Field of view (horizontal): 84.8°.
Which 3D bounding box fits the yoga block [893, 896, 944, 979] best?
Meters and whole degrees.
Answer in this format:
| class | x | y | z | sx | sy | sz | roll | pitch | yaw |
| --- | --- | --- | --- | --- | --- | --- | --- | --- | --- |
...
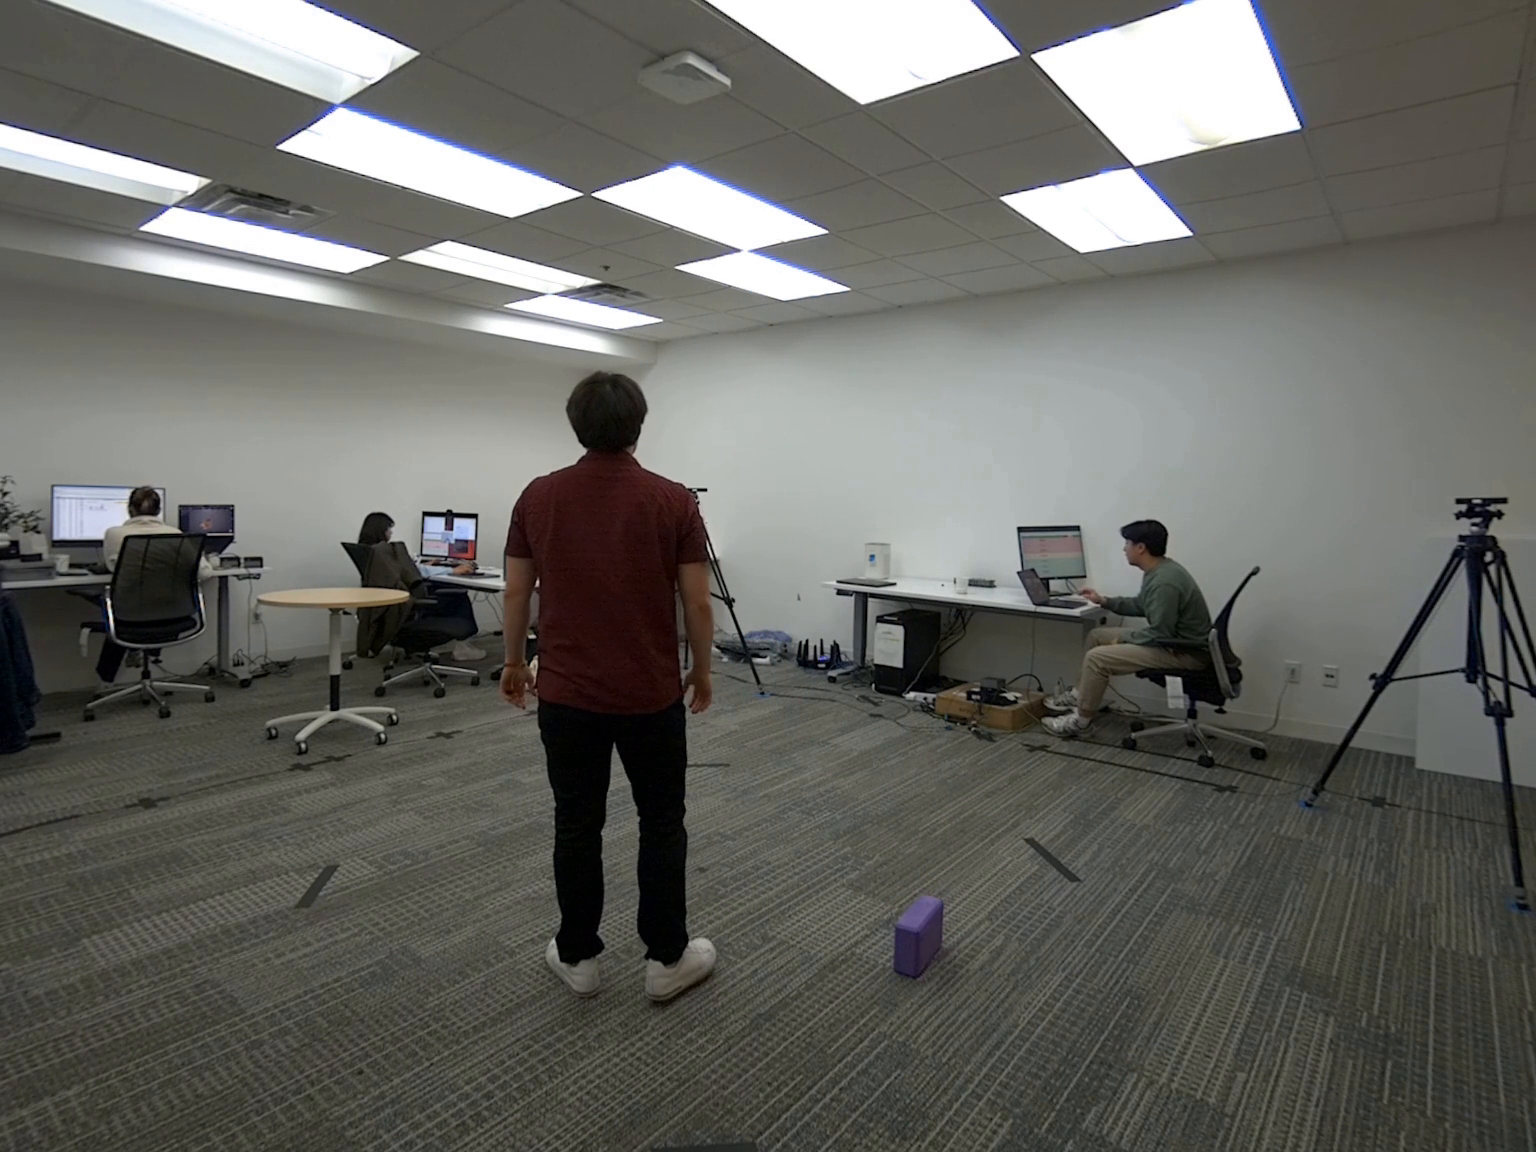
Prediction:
| class | x | y | z | sx | sy | sz | roll | pitch | yaw |
| --- | --- | --- | --- | --- | --- | --- | --- | --- | --- |
| yoga block | 0.444 | 1.063 | 2.543 | 0.079 | 0.148 | 0.223 | 2 | 5 | 31 |
